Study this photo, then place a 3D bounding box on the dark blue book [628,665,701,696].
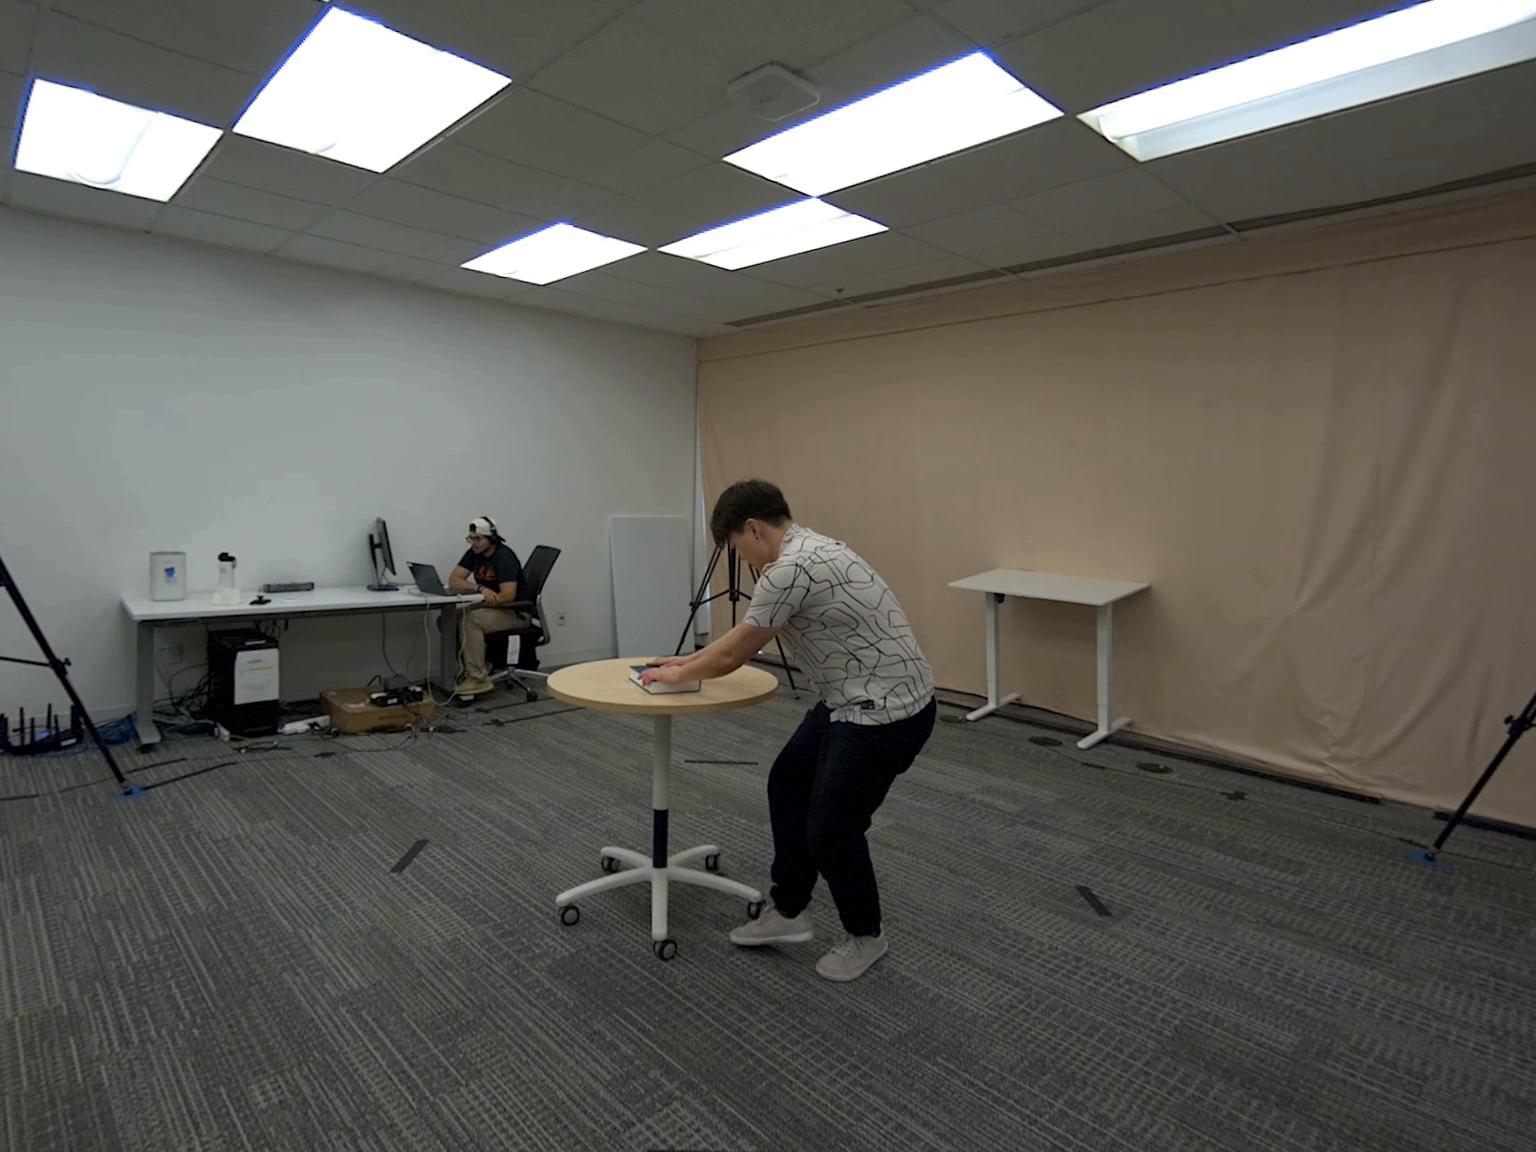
[{"bbox_3d":[-0.352,0.336,2.715,0.161,0.045,0.250,-1,6,-22],"label":"dark blue book"}]
